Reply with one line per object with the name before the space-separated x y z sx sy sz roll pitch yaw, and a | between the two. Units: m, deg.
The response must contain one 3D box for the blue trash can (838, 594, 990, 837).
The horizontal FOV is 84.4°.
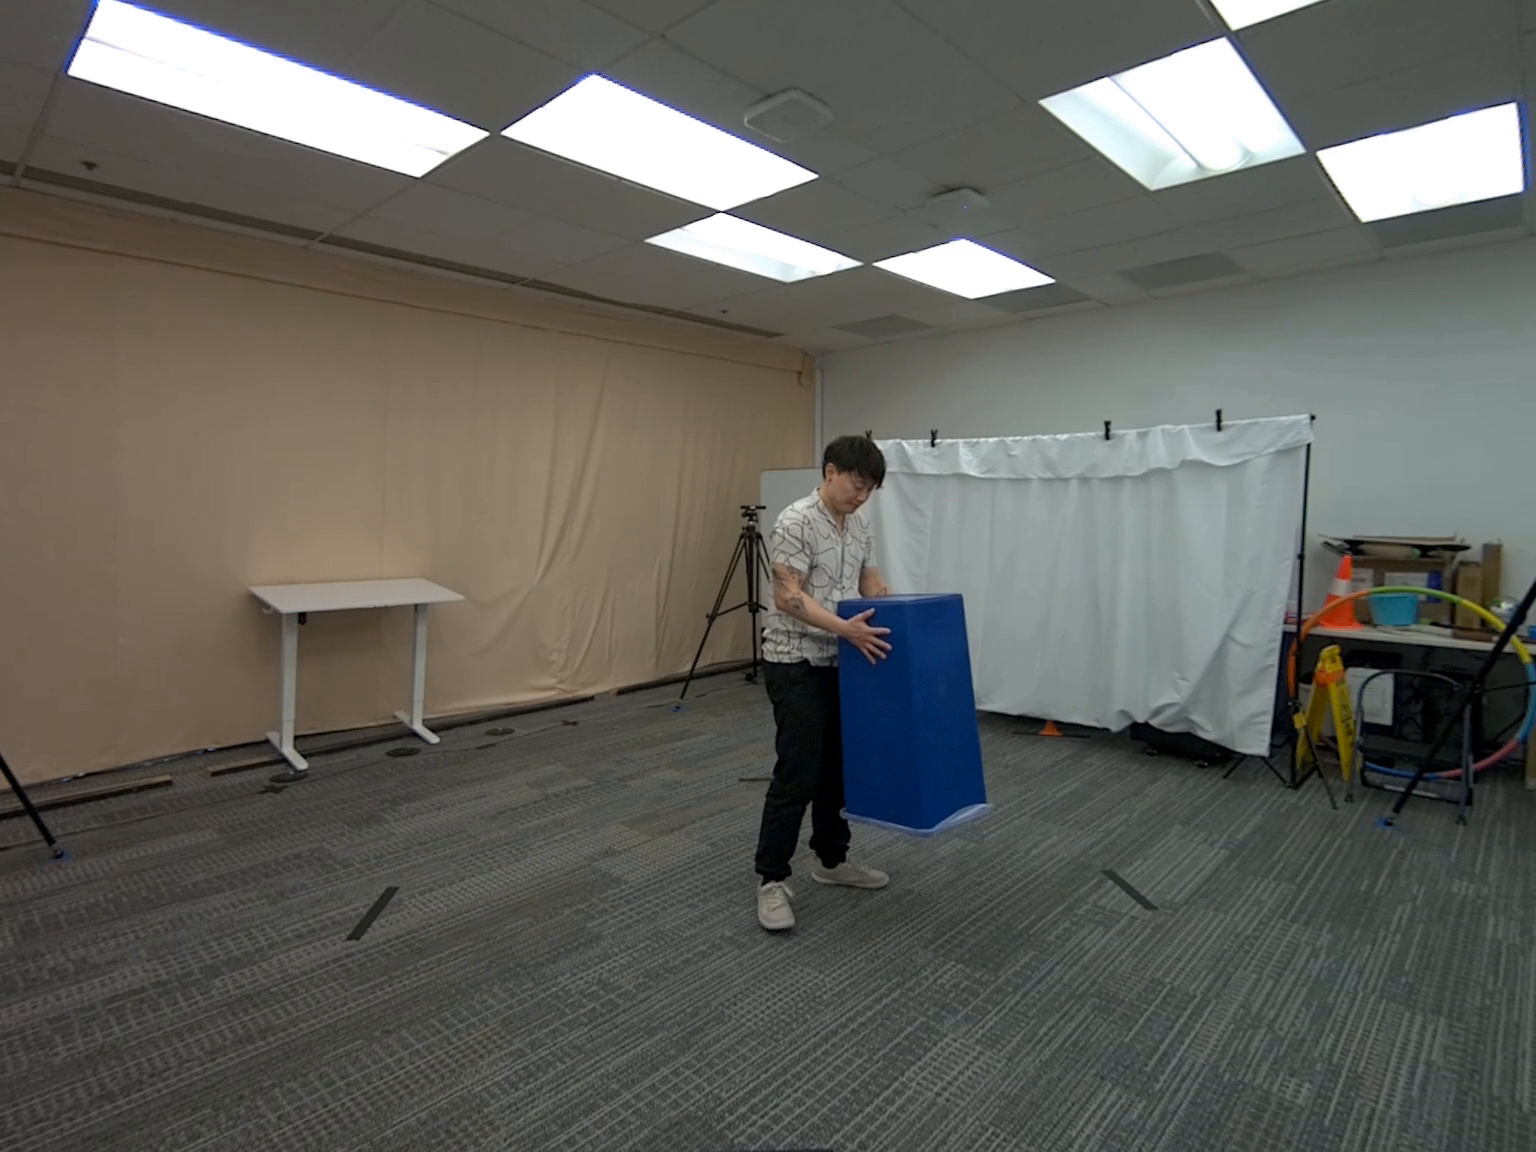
blue trash can | 0.471 0.431 2.769 0.363 0.714 0.390 -3 0 -41
